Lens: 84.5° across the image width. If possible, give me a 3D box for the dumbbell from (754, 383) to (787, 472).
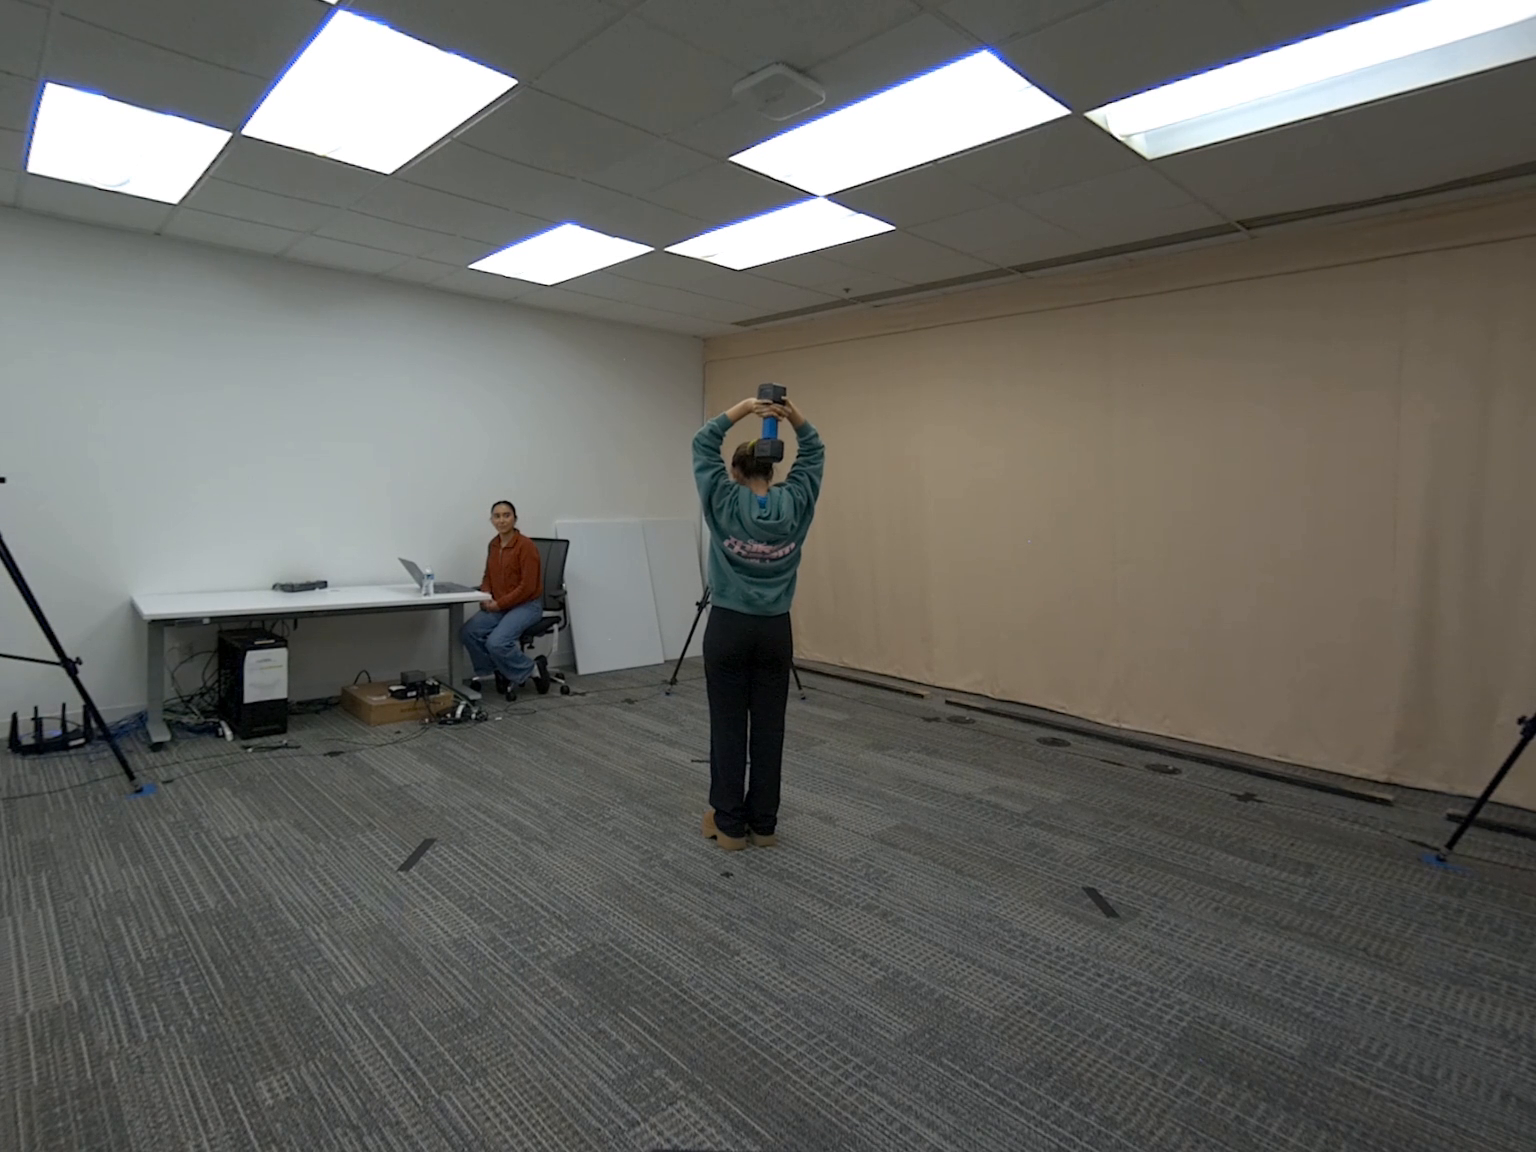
[{"bbox_3d":[-0.003,-0.584,3.213,0.108,0.295,0.123,2,-5,-9],"label":"dumbbell"}]
